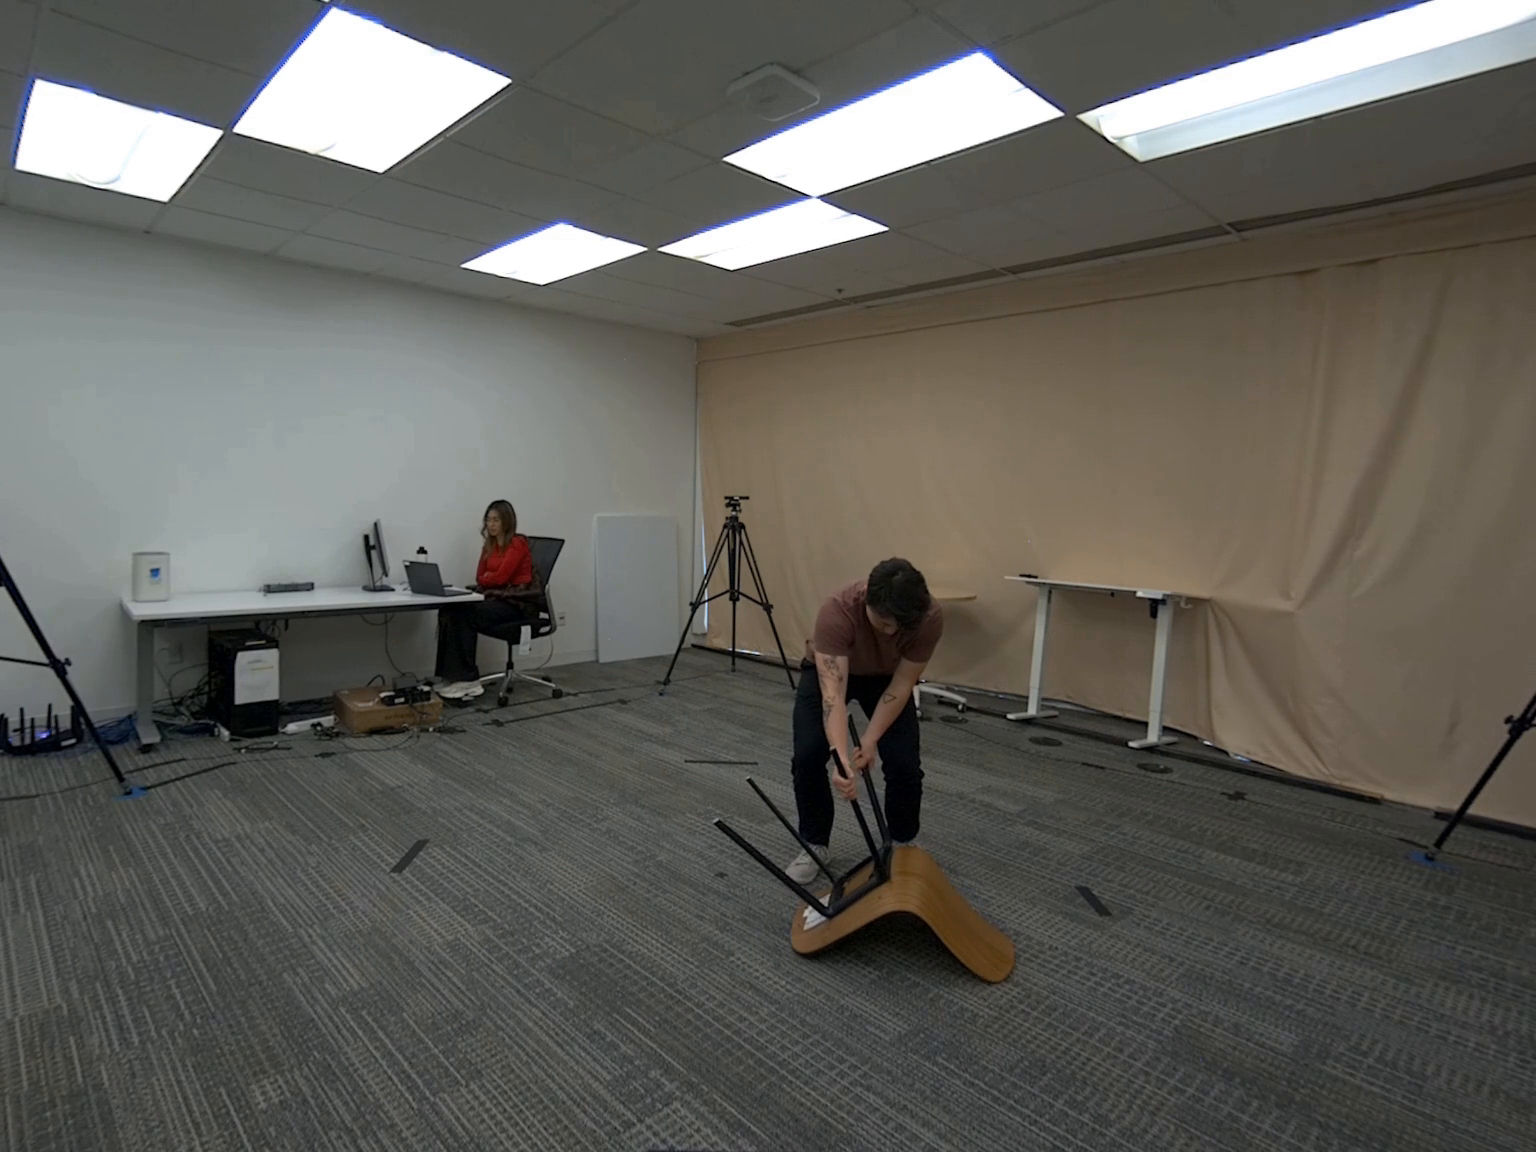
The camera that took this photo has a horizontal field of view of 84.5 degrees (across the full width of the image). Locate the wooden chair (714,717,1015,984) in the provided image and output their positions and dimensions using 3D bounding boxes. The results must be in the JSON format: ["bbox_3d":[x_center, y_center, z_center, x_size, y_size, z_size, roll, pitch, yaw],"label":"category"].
[{"bbox_3d":[0.287,0.976,2.708,0.524,0.884,0.474,-39,-7,11],"label":"wooden chair"}]
